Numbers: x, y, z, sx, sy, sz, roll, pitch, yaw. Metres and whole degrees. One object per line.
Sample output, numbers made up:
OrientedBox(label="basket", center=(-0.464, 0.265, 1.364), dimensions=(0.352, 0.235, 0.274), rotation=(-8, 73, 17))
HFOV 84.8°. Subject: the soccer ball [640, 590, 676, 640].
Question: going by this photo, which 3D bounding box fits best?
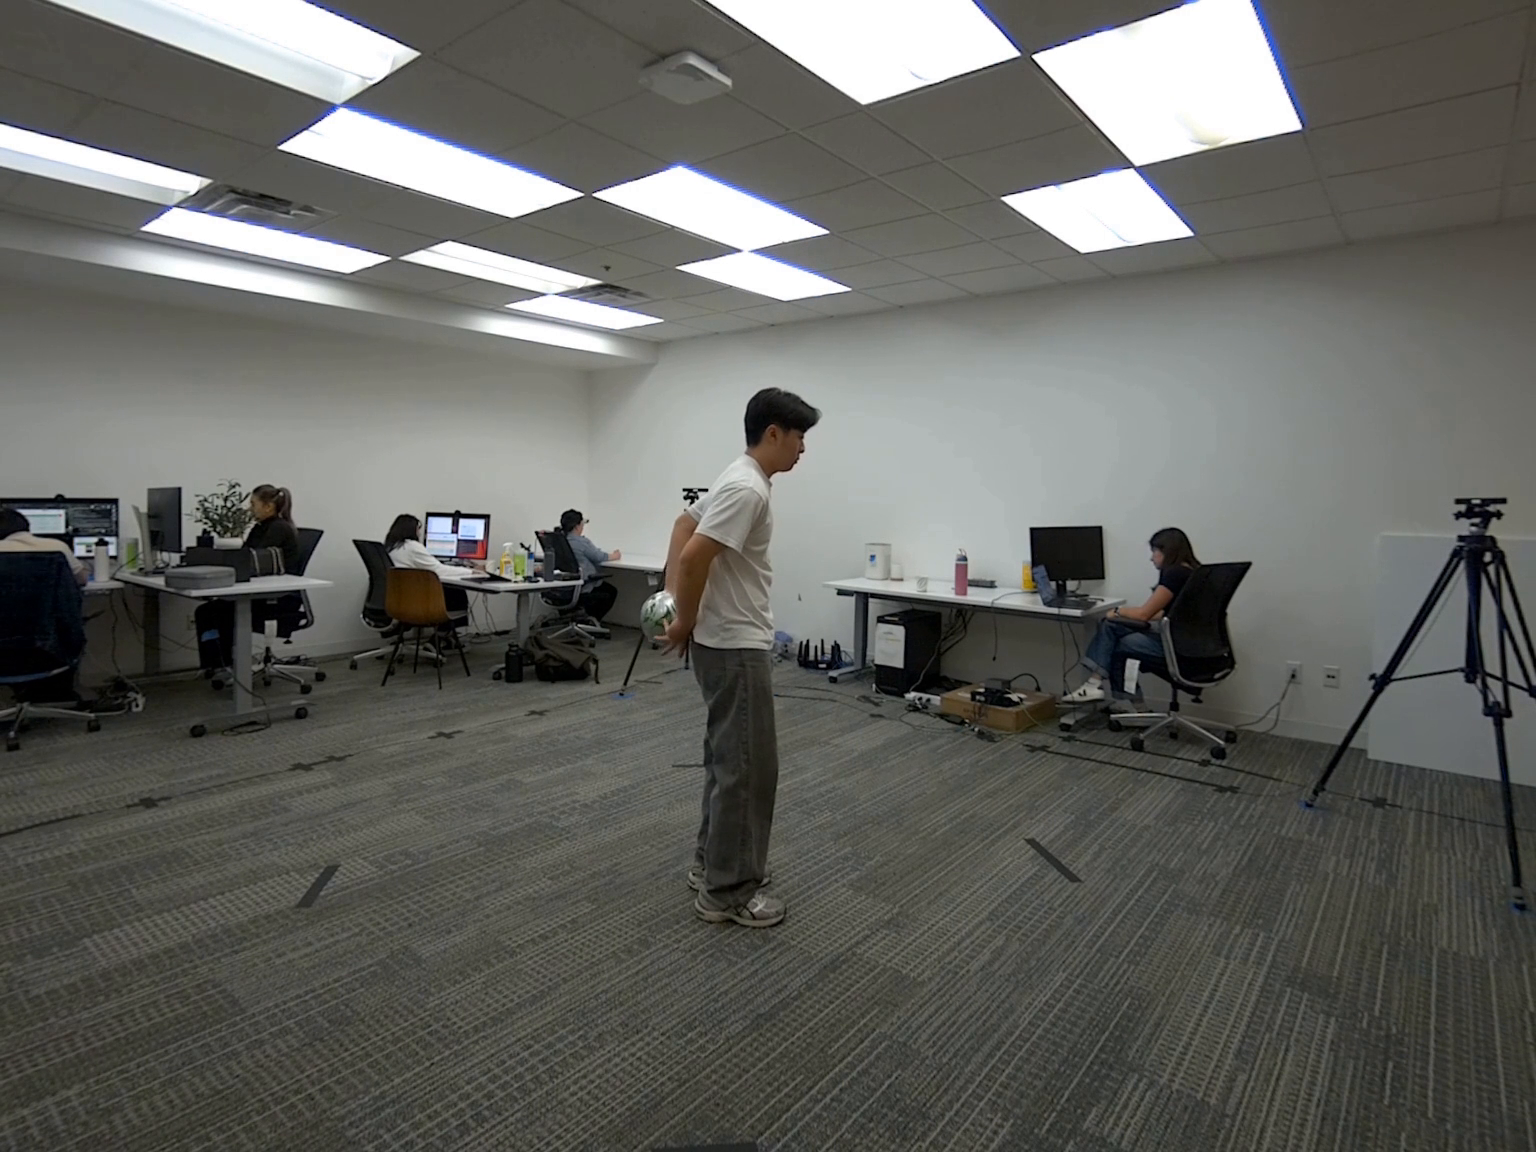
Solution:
OrientedBox(label="soccer ball", center=(-0.359, 0.140, 2.978), dimensions=(0.187, 0.187, 0.188), rotation=(1, 4, -2))
